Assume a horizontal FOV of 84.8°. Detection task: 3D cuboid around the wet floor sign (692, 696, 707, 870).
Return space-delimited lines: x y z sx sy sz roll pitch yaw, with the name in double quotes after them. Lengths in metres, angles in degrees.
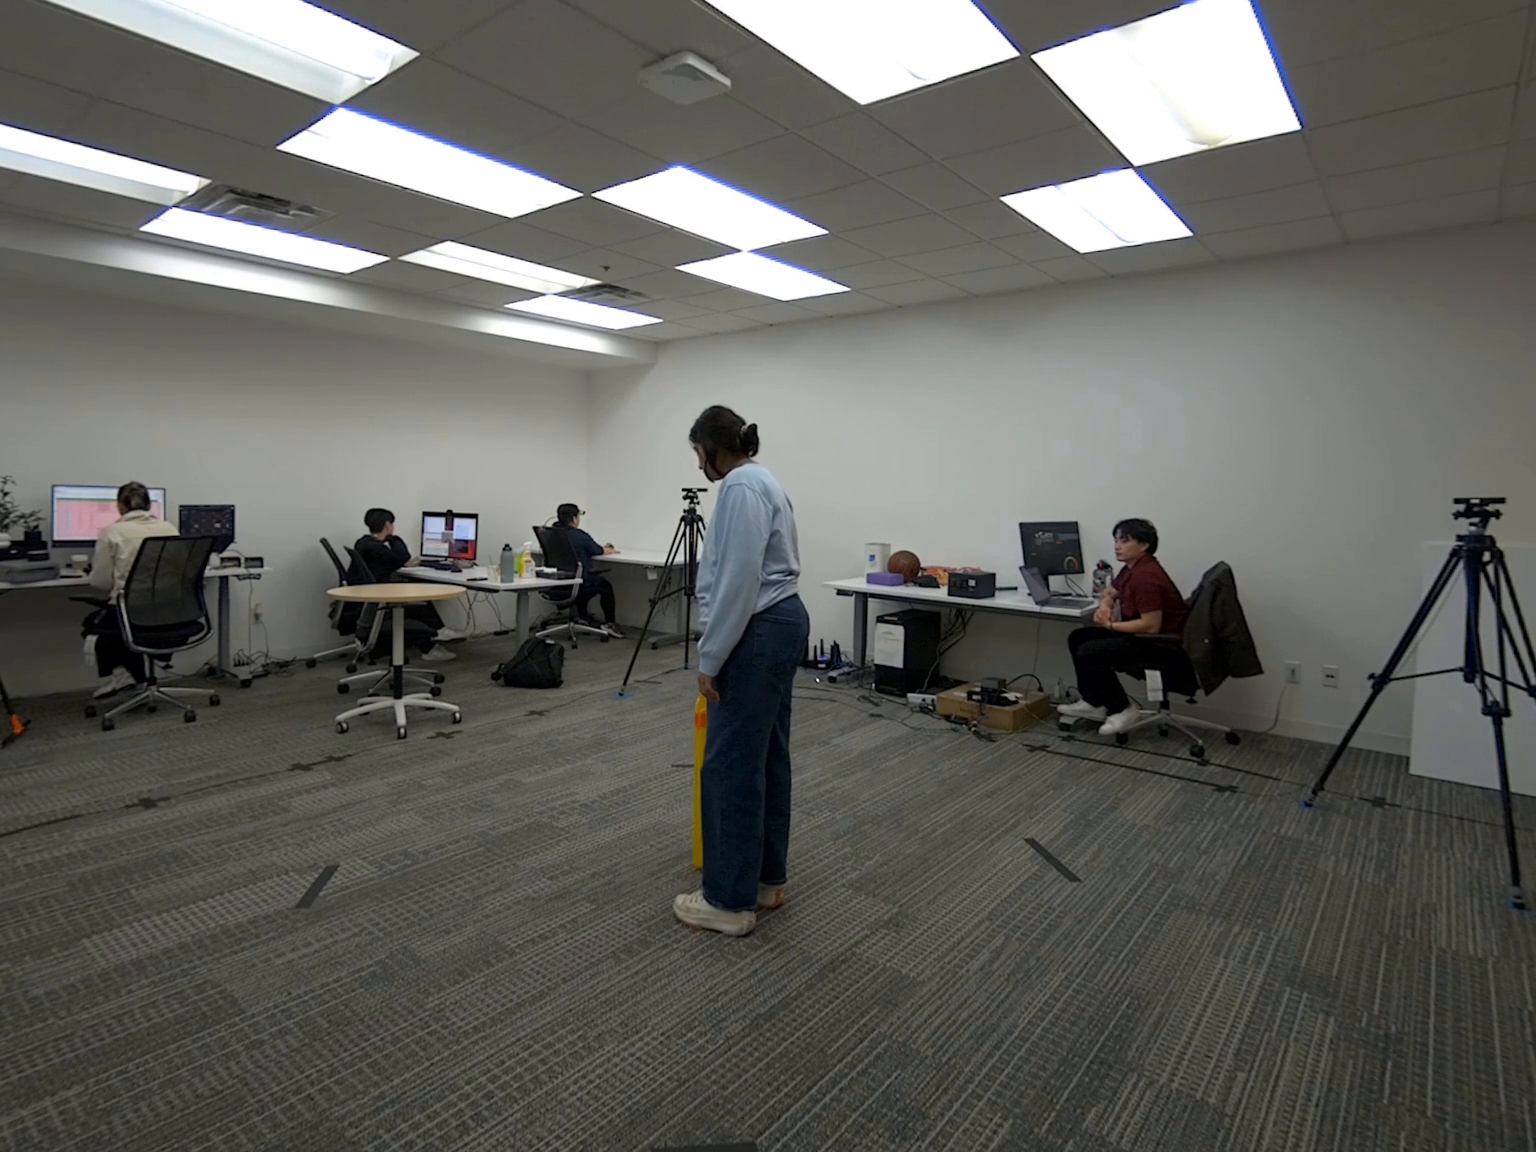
-0.162 0.702 3.144 0.281 0.646 0.291 -1 0 -5 "wet floor sign"
